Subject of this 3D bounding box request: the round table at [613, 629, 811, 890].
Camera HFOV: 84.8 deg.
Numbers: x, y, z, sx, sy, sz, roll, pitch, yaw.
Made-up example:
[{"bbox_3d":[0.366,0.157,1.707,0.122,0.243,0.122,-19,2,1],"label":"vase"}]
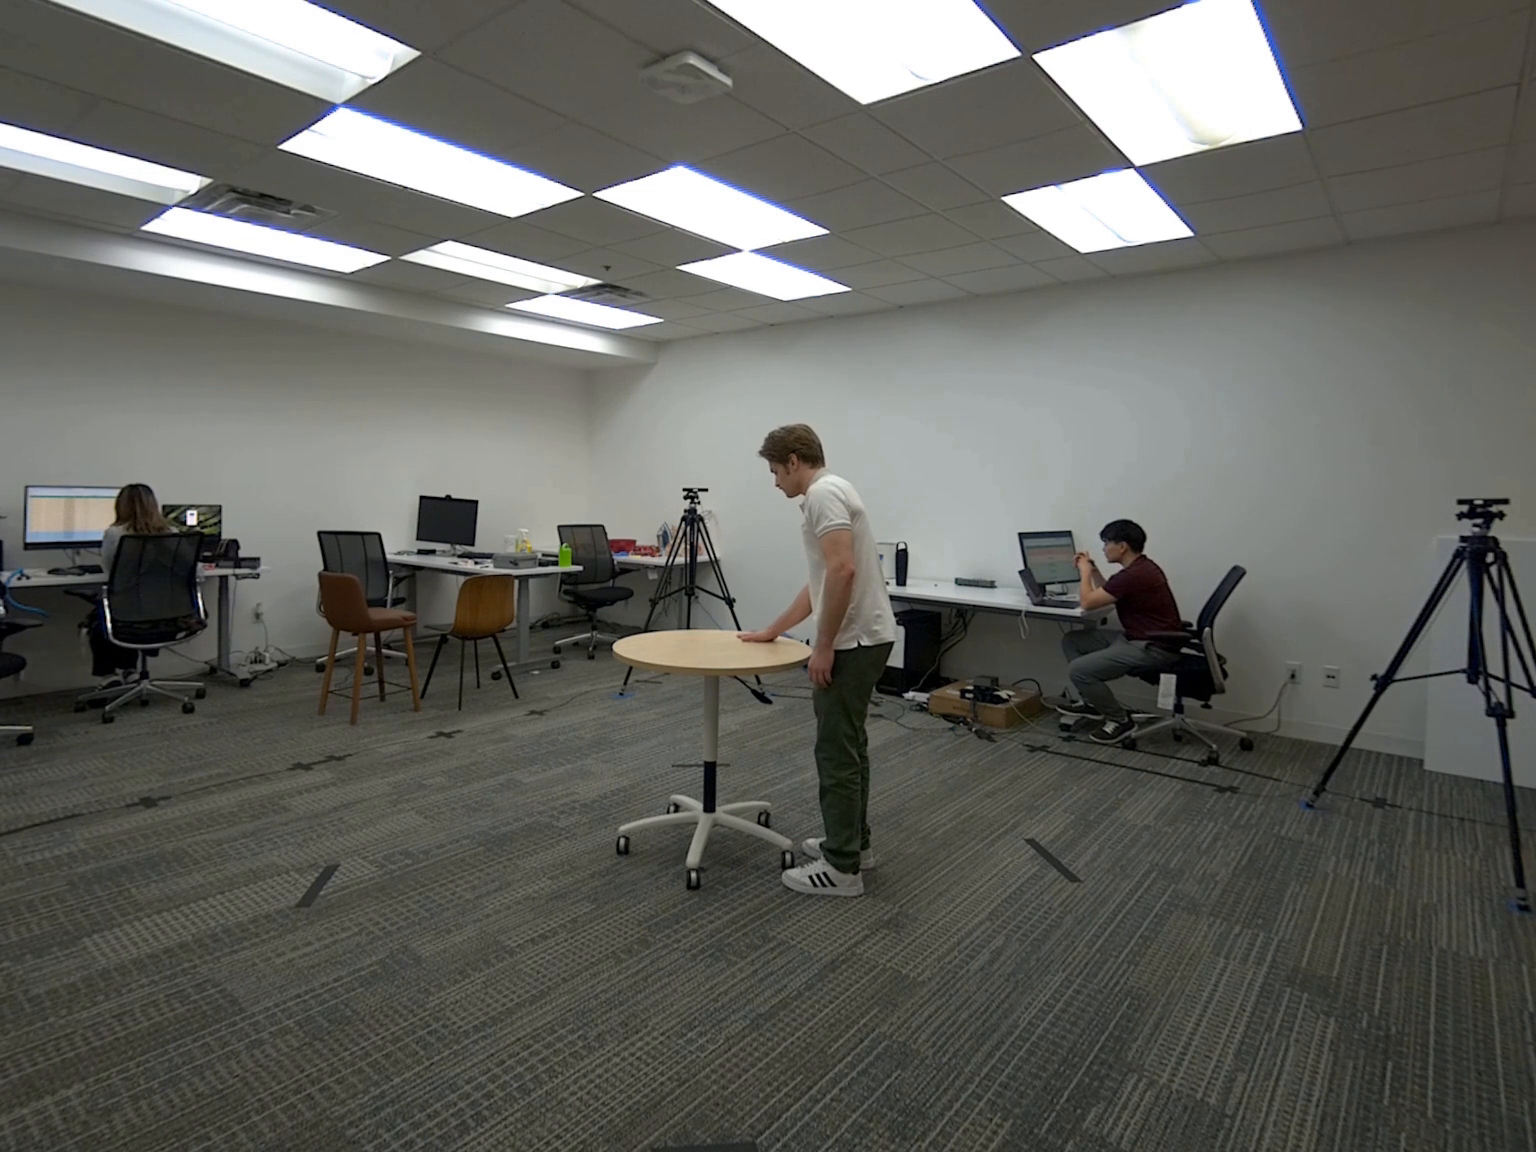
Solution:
[{"bbox_3d":[-0.240,0.657,3.303,0.784,0.784,0.789,2,5,-2],"label":"round table"}]
